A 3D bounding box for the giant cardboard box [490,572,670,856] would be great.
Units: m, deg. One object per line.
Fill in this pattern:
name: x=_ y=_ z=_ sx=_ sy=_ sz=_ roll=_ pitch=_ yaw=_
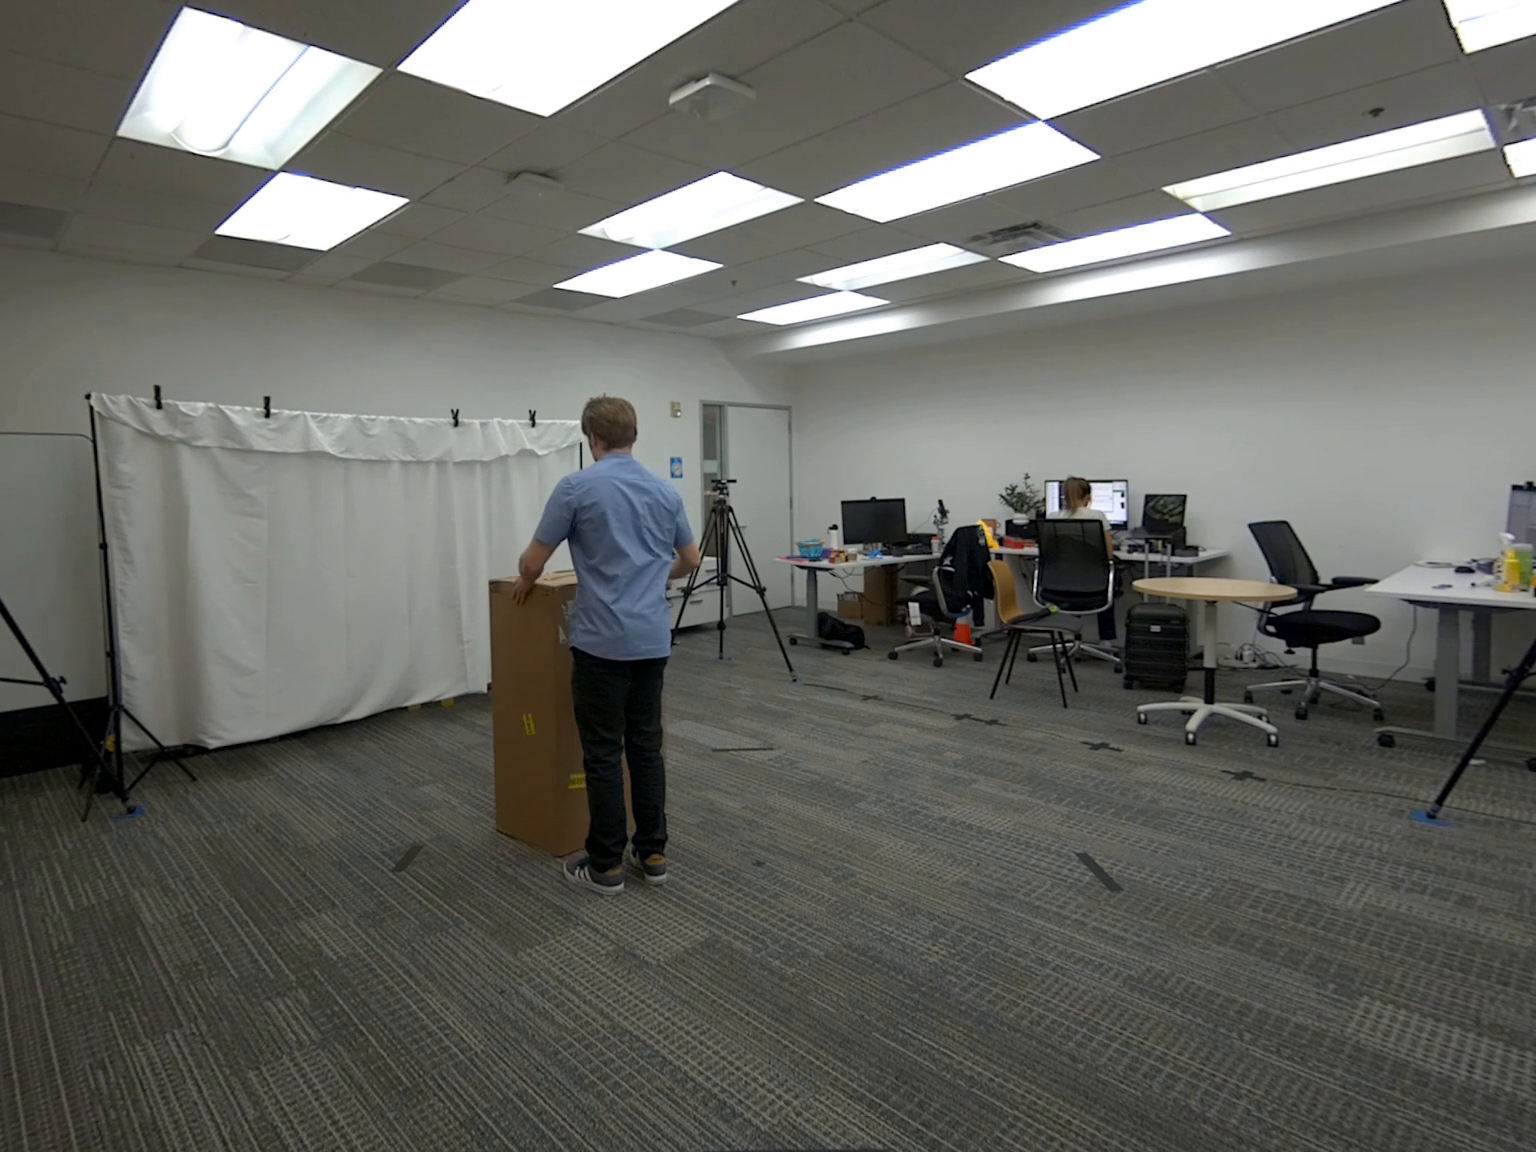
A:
giant cardboard box: x=-0.771 y=0.510 z=3.517 sx=0.439 sy=1.023 sz=0.562 roll=2 pitch=4 yaw=40
